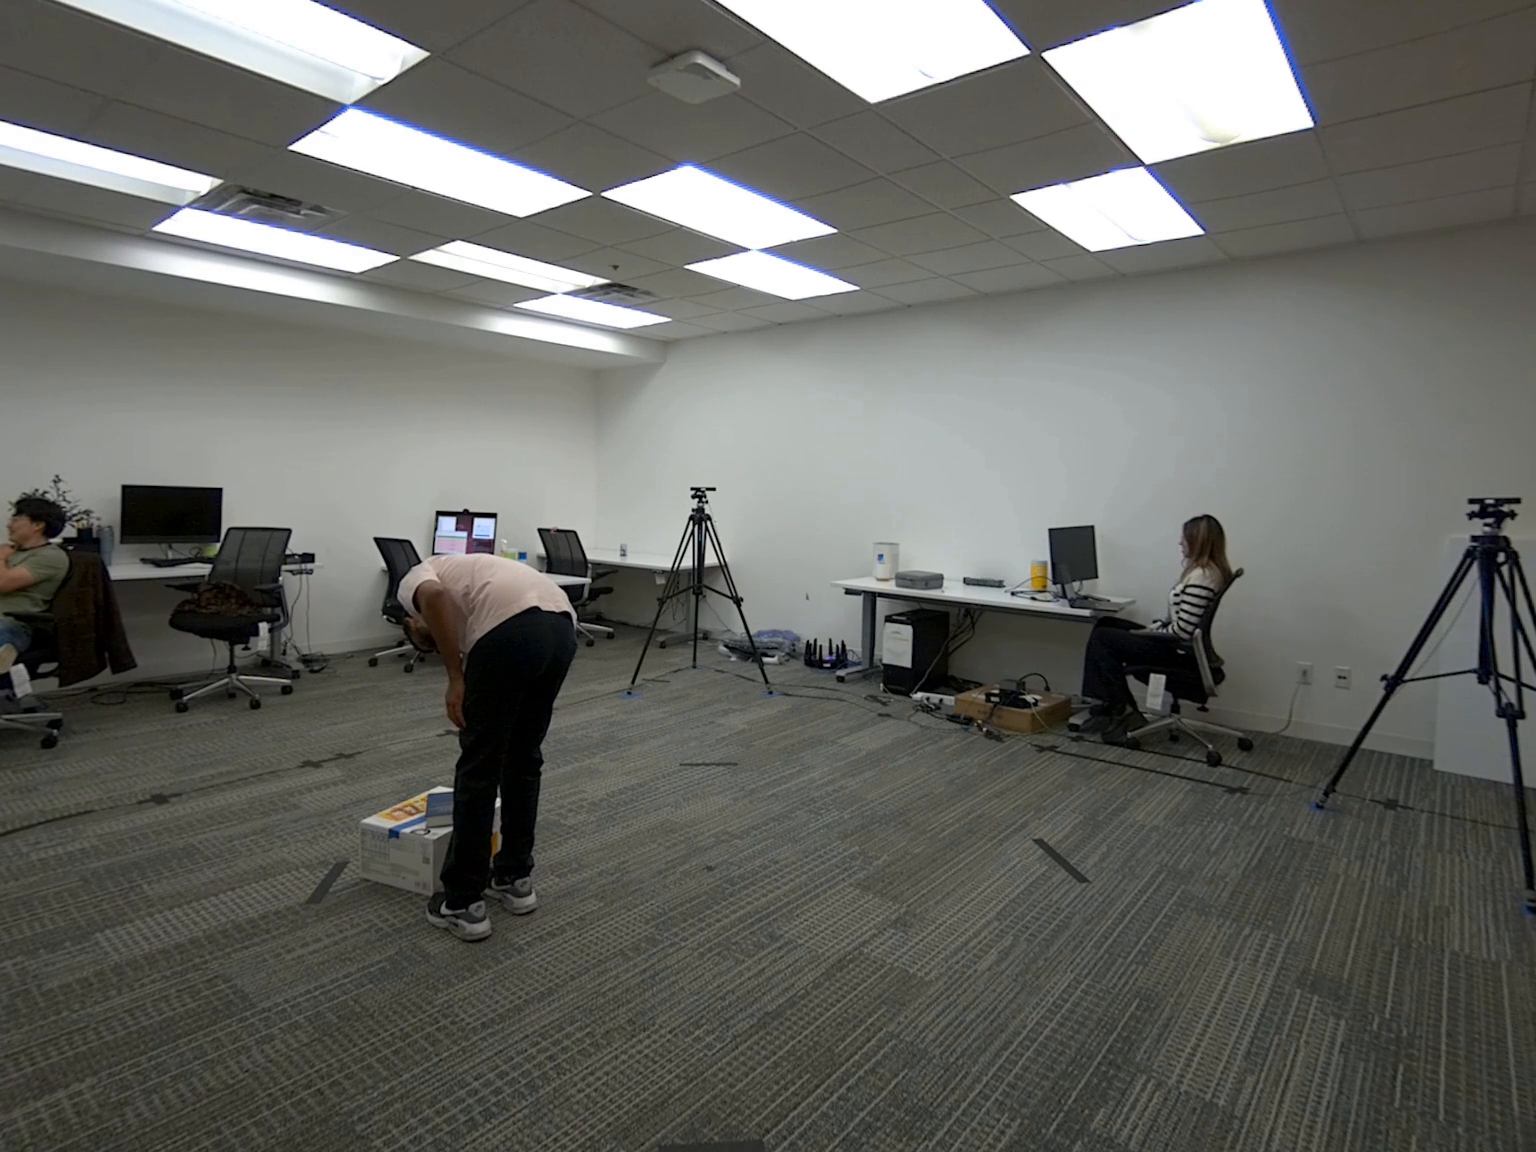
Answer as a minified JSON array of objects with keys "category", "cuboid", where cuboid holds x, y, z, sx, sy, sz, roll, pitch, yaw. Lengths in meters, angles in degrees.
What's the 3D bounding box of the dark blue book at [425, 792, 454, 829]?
[{"category":"dark blue book","cuboid":[-1.176,0.839,3.076,0.161,0.045,0.250,-3,6,-18]}]
